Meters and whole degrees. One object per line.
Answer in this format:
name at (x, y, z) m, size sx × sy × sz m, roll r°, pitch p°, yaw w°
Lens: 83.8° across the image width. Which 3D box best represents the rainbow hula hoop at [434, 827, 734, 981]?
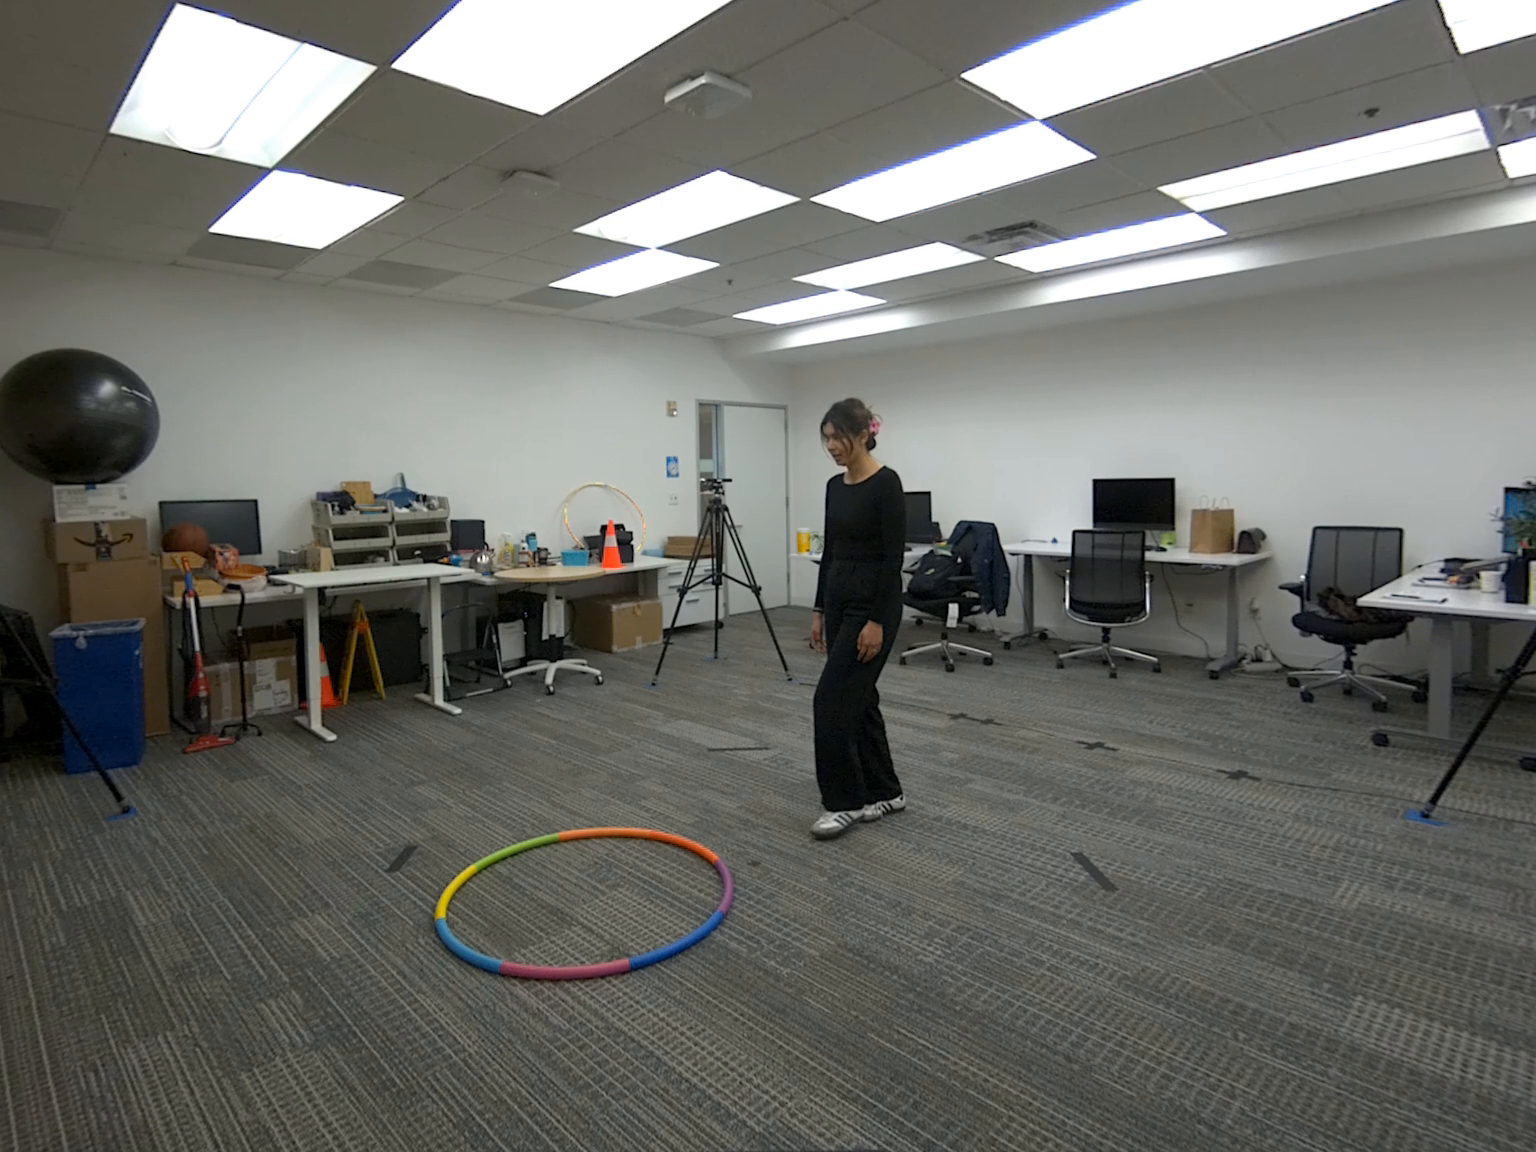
rainbow hula hoop at (-0.602, 1.051, 2.886) m, size 0.978 × 0.035 × 0.984 m, roll -1°, pitch 7°, yaw -2°
